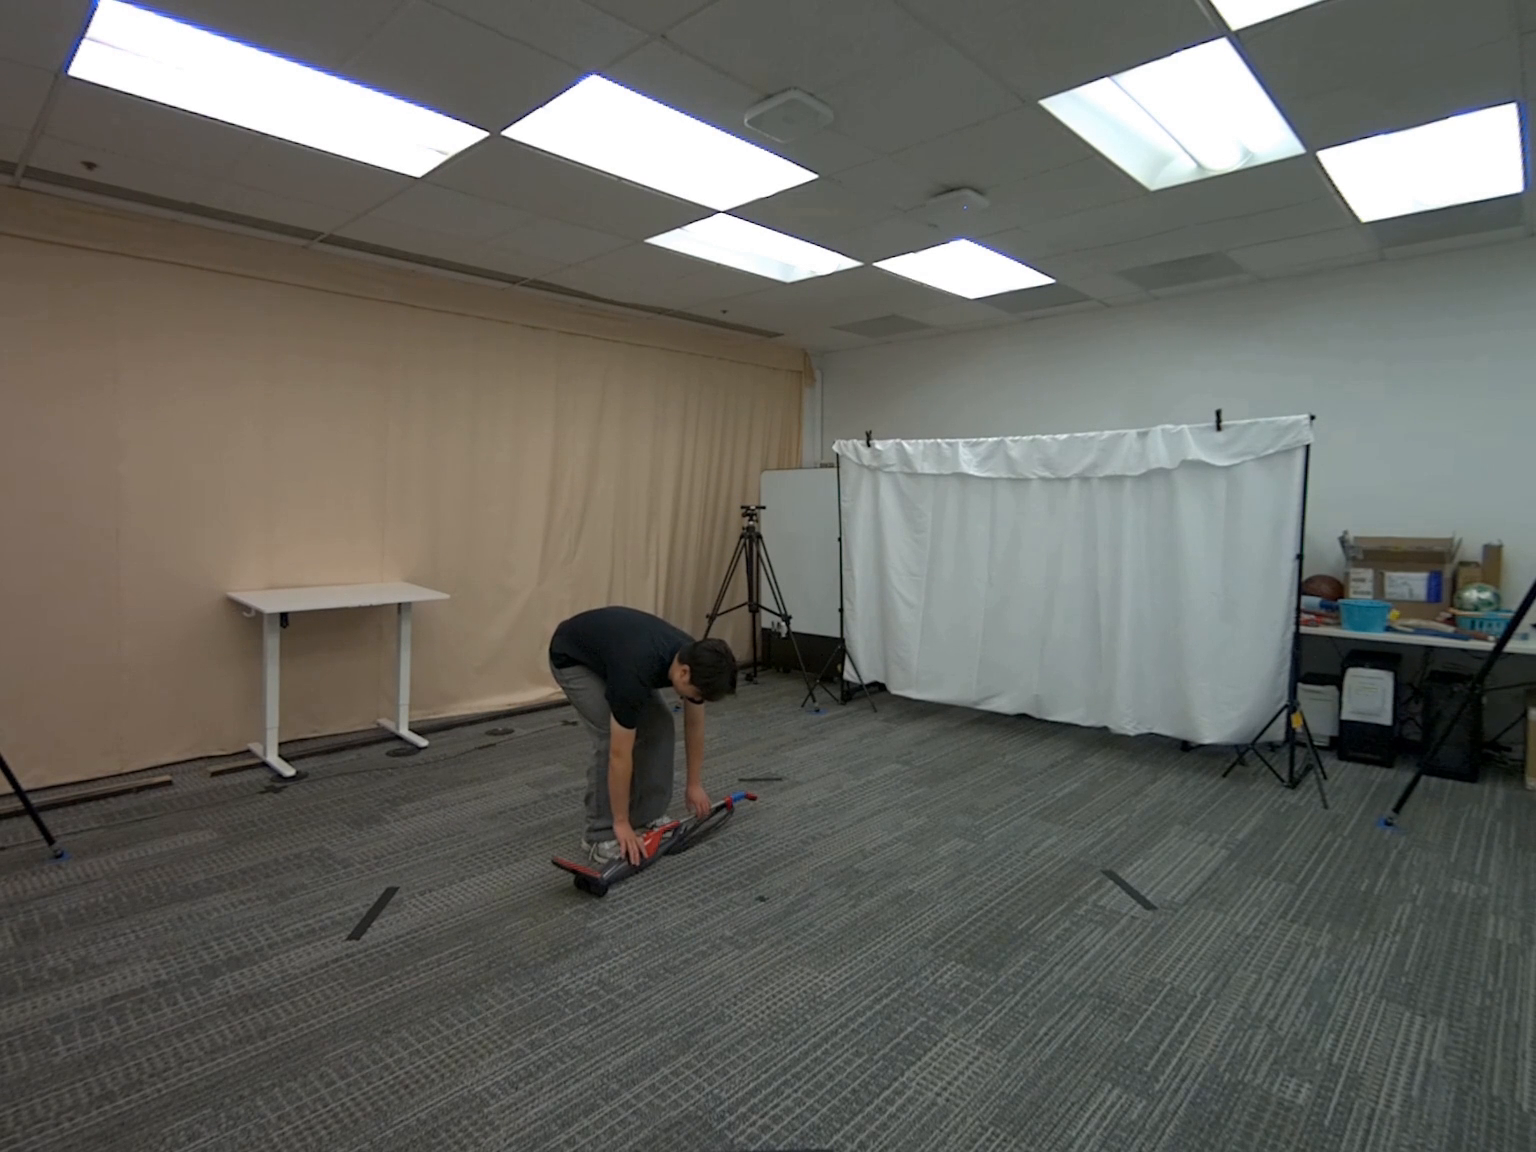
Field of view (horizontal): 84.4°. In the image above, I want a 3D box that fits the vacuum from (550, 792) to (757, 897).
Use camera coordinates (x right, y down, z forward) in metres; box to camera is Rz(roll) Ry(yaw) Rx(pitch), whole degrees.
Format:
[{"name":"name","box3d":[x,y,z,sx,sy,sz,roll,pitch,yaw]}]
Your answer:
[{"name":"vacuum","box3d":[-0.356,1.047,3.412,0.260,0.144,1.019,1,4,36]}]
